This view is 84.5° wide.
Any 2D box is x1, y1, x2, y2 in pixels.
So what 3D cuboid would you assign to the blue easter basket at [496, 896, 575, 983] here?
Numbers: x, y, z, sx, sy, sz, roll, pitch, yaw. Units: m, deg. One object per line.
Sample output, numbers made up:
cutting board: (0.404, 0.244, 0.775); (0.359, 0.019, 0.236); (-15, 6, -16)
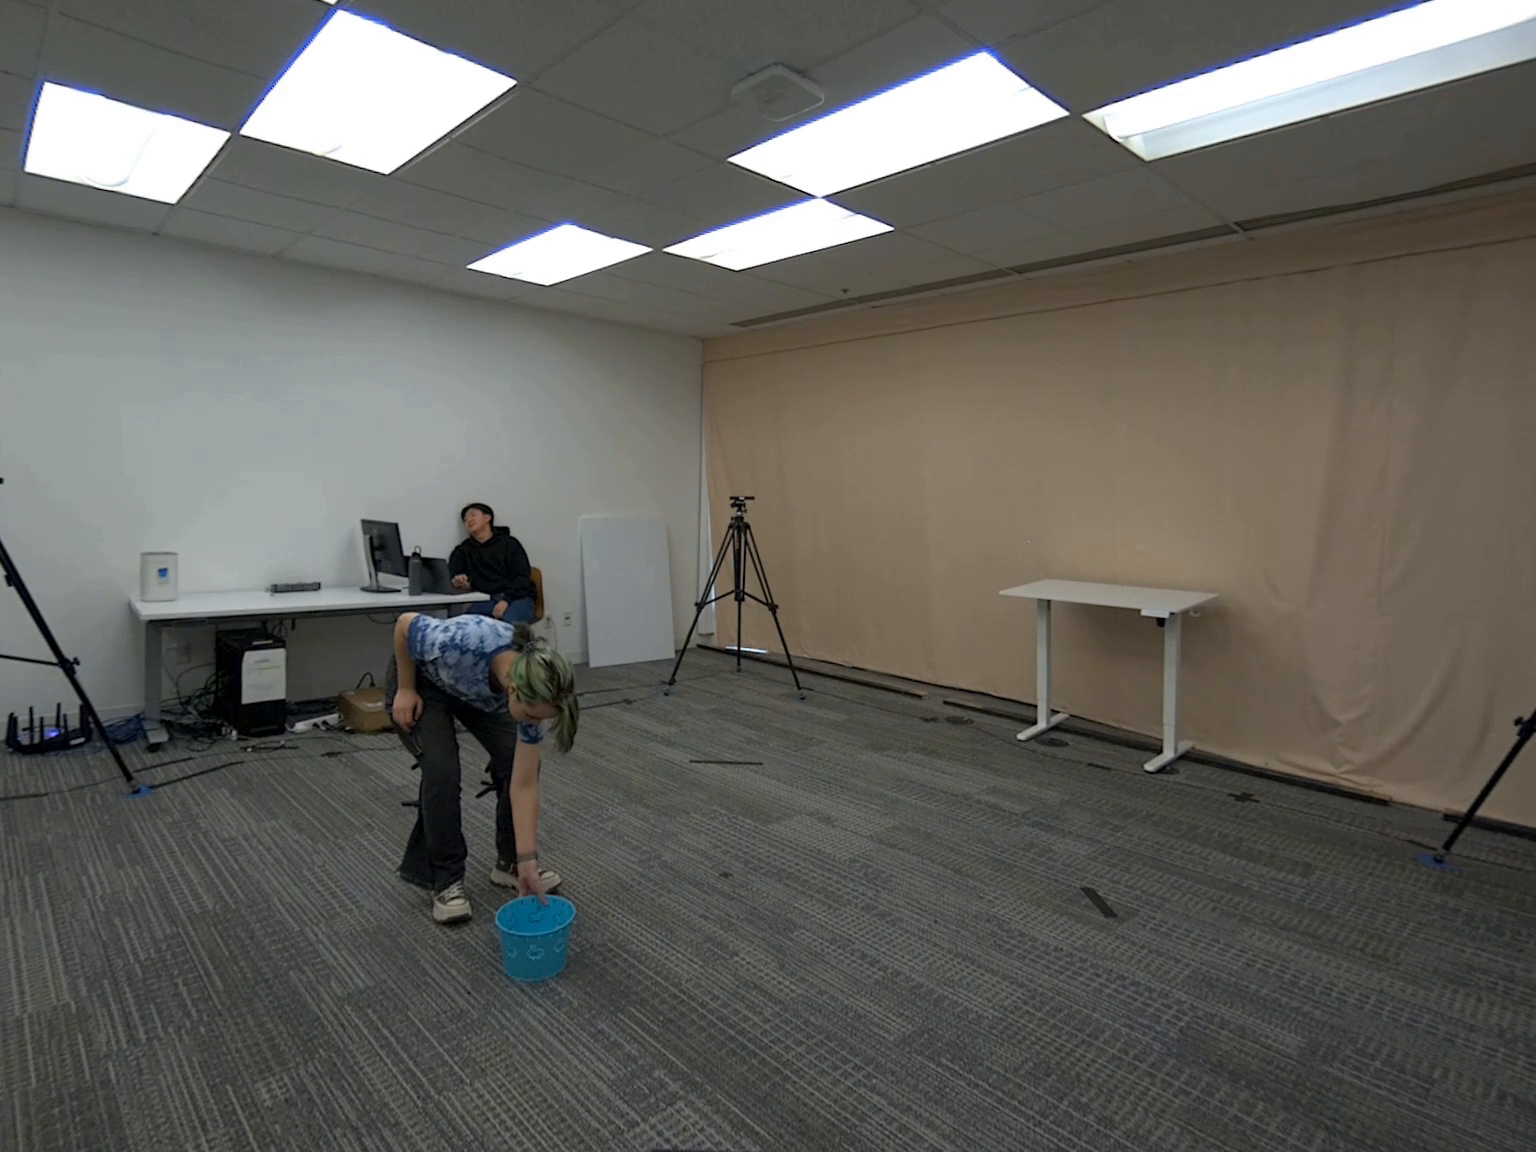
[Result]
blue easter basket: (-0.692, 1.071, 2.486); (0.243, 0.155, 0.244); (3, 5, -2)
